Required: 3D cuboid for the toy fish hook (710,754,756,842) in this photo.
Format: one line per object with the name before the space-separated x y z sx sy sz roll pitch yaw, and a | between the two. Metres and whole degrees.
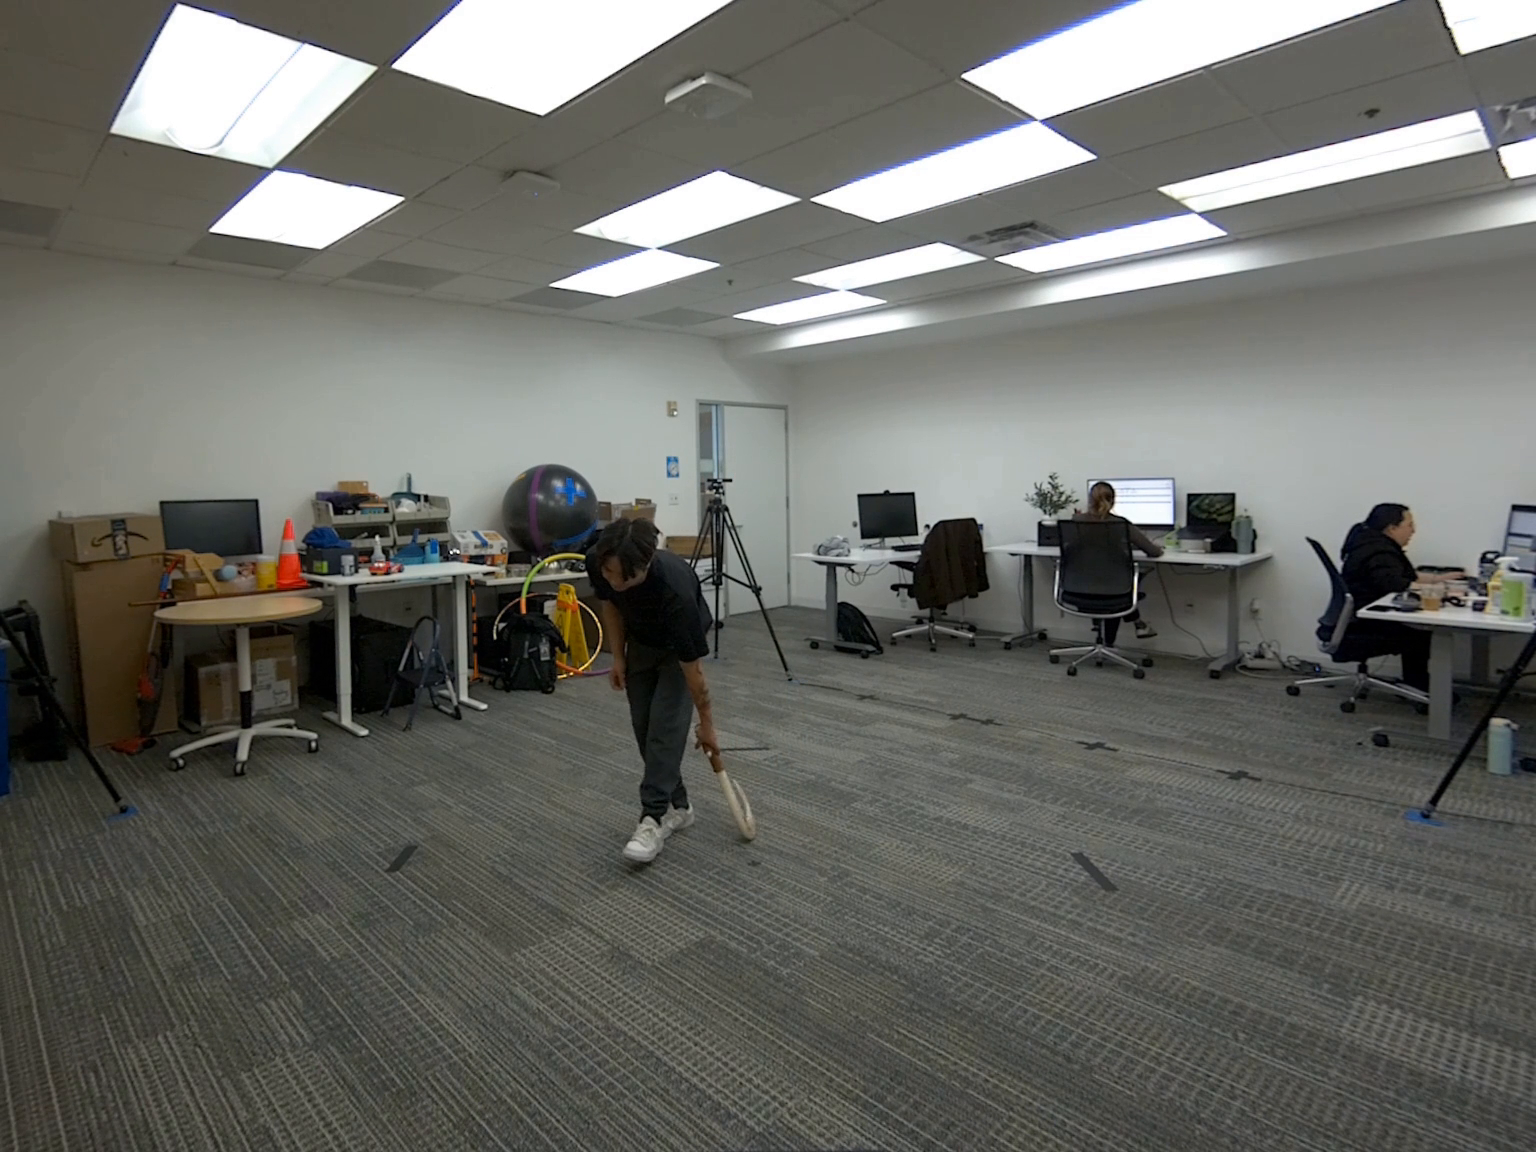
toy fish hook | -0.164 0.788 3.342 0.048 0.502 0.226 -26 7 4
